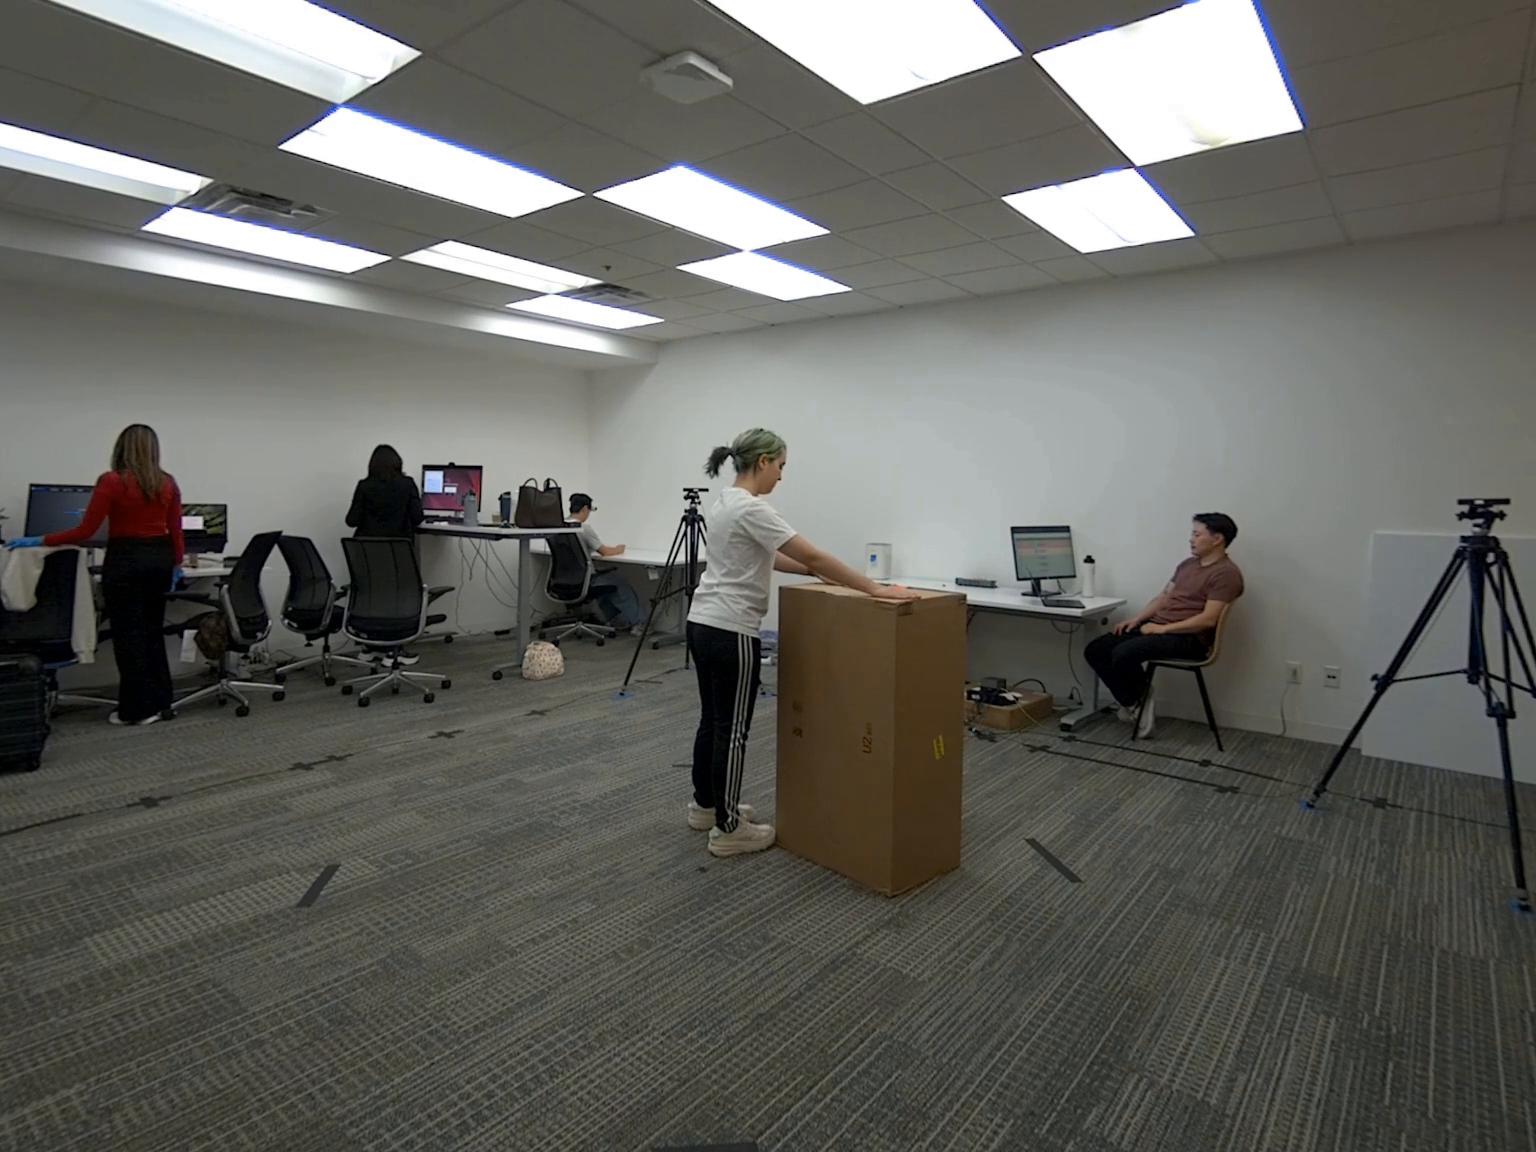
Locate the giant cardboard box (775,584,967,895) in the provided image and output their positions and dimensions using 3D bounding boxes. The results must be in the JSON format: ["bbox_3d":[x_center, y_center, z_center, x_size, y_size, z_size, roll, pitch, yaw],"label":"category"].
[{"bbox_3d":[0.379,0.567,3.245,0.433,1.024,0.604,-3,5,-43],"label":"giant cardboard box"}]
